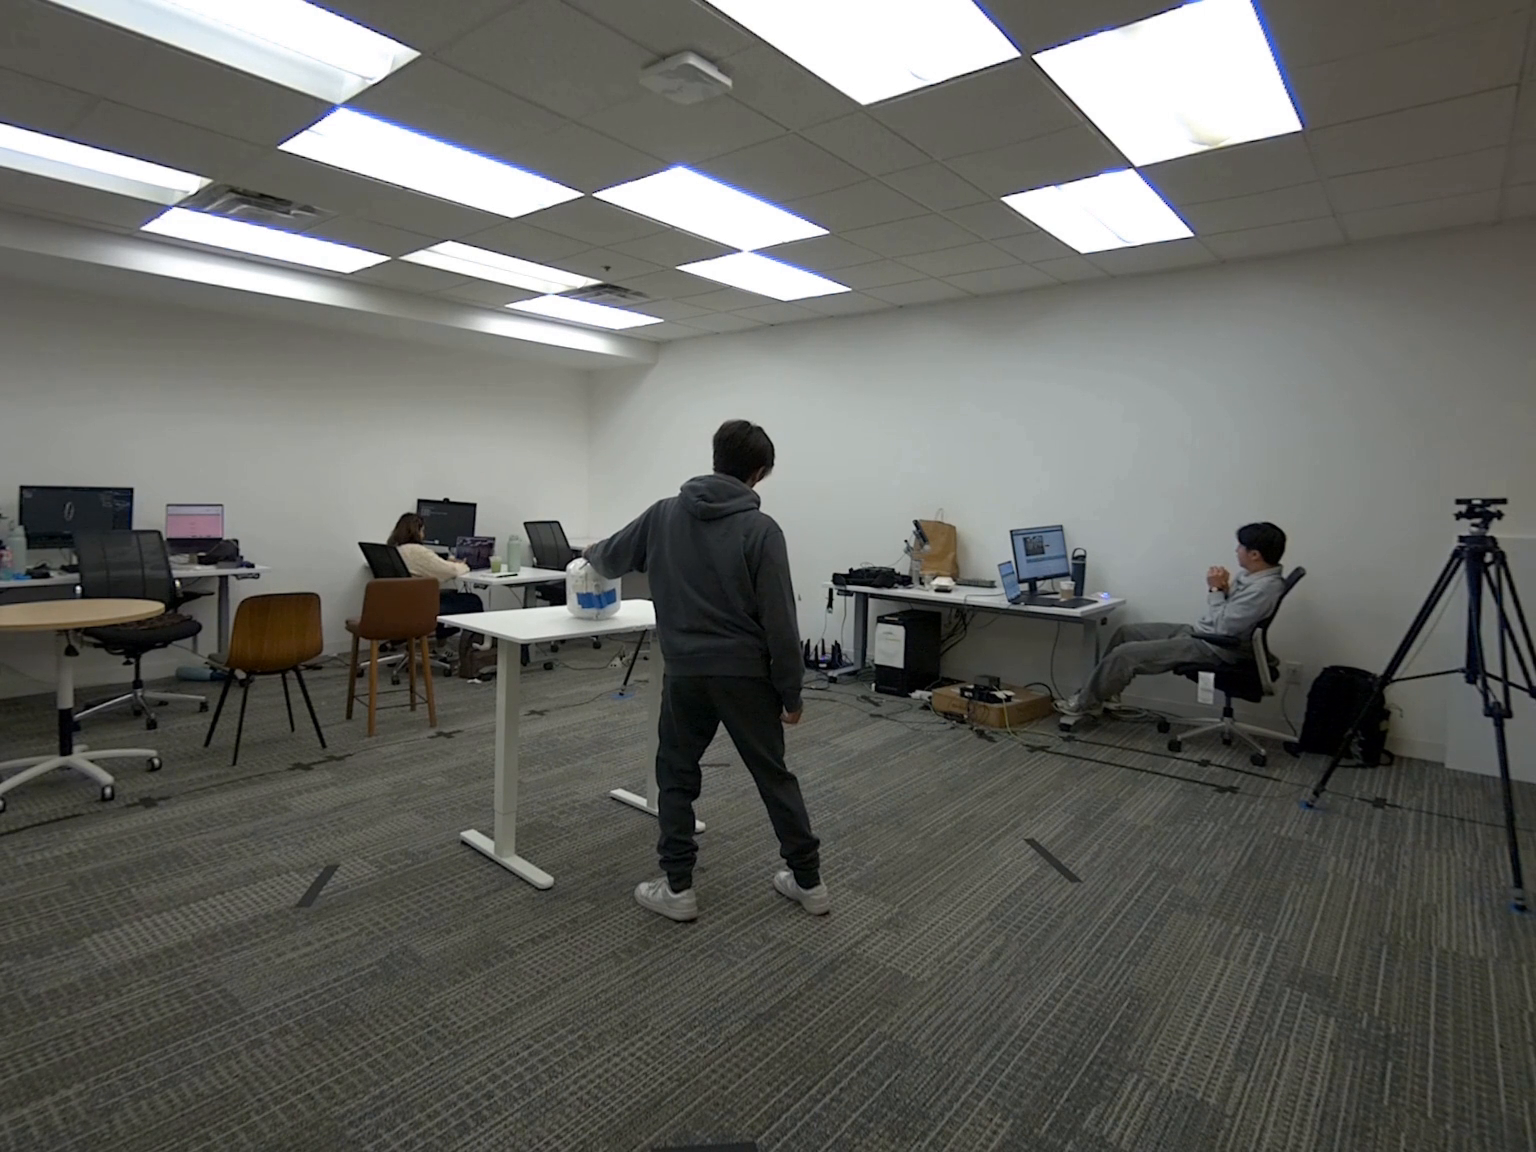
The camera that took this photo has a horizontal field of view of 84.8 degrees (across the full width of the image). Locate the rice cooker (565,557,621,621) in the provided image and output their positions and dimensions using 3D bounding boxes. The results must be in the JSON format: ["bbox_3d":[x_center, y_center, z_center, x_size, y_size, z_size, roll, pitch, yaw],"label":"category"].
[{"bbox_3d":[-0.689,0.033,3.302,0.223,0.230,0.217,8,13,25],"label":"rice cooker"}]
